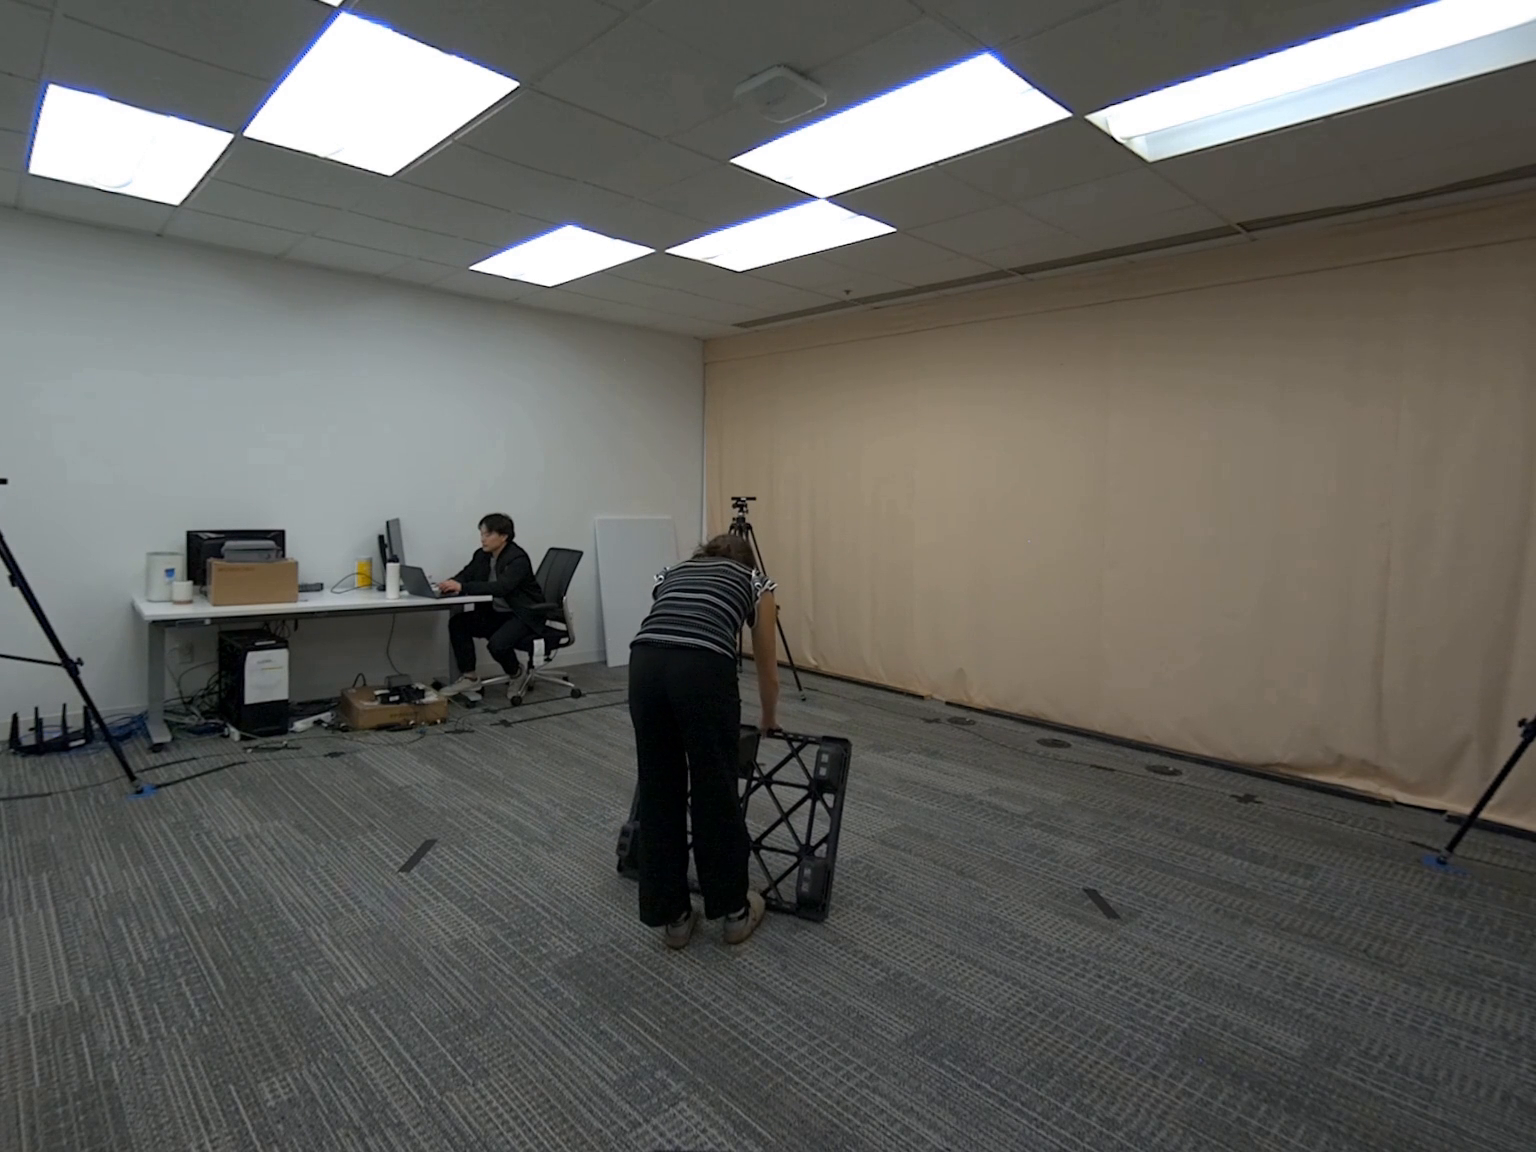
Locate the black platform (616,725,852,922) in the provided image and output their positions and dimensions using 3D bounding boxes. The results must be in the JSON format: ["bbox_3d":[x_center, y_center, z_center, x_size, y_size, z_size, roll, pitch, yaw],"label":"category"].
[{"bbox_3d":[-0.148,0.824,2.992,0.820,0.612,0.139,3,-22,23],"label":"black platform"}]
